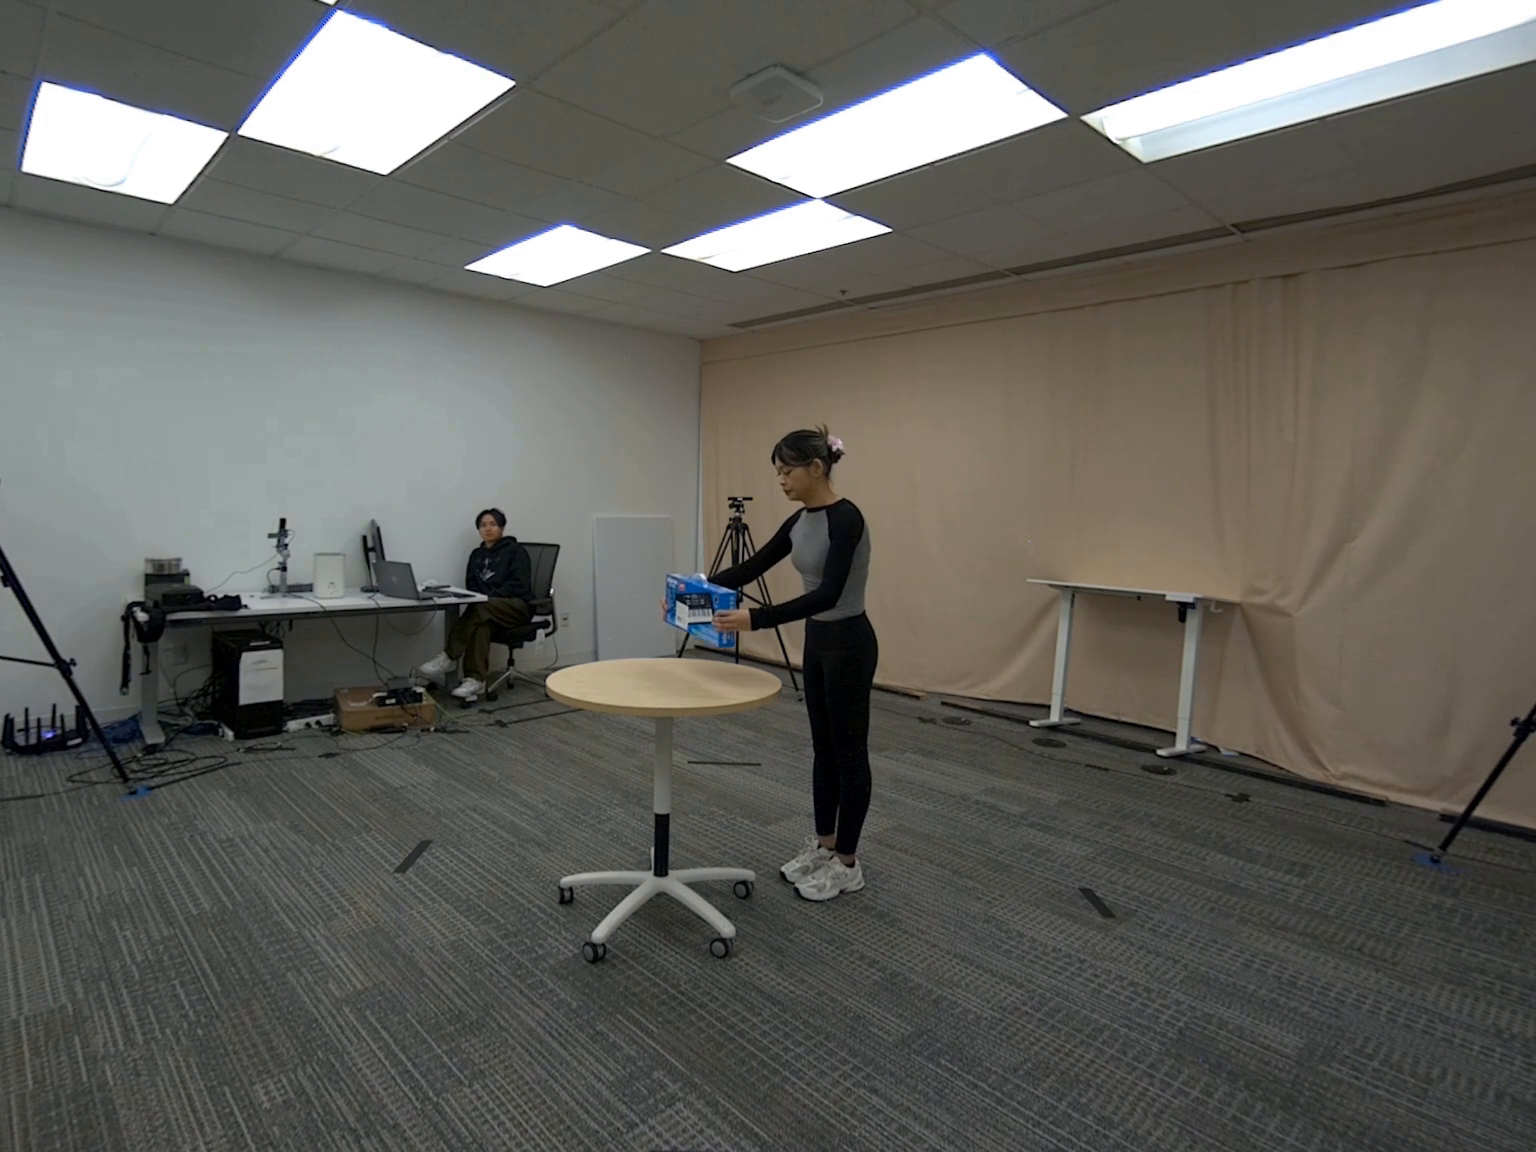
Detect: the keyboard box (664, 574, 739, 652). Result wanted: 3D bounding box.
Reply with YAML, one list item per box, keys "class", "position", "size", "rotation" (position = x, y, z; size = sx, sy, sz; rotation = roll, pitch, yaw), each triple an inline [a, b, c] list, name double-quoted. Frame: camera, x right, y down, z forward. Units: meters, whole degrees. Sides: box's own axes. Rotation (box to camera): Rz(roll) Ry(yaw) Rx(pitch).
- class: "keyboard box"
  position: [-0.235, 0.109, 2.797]
  size: [0.058, 0.175, 0.447]
  rotation: [2, 6, -30]
